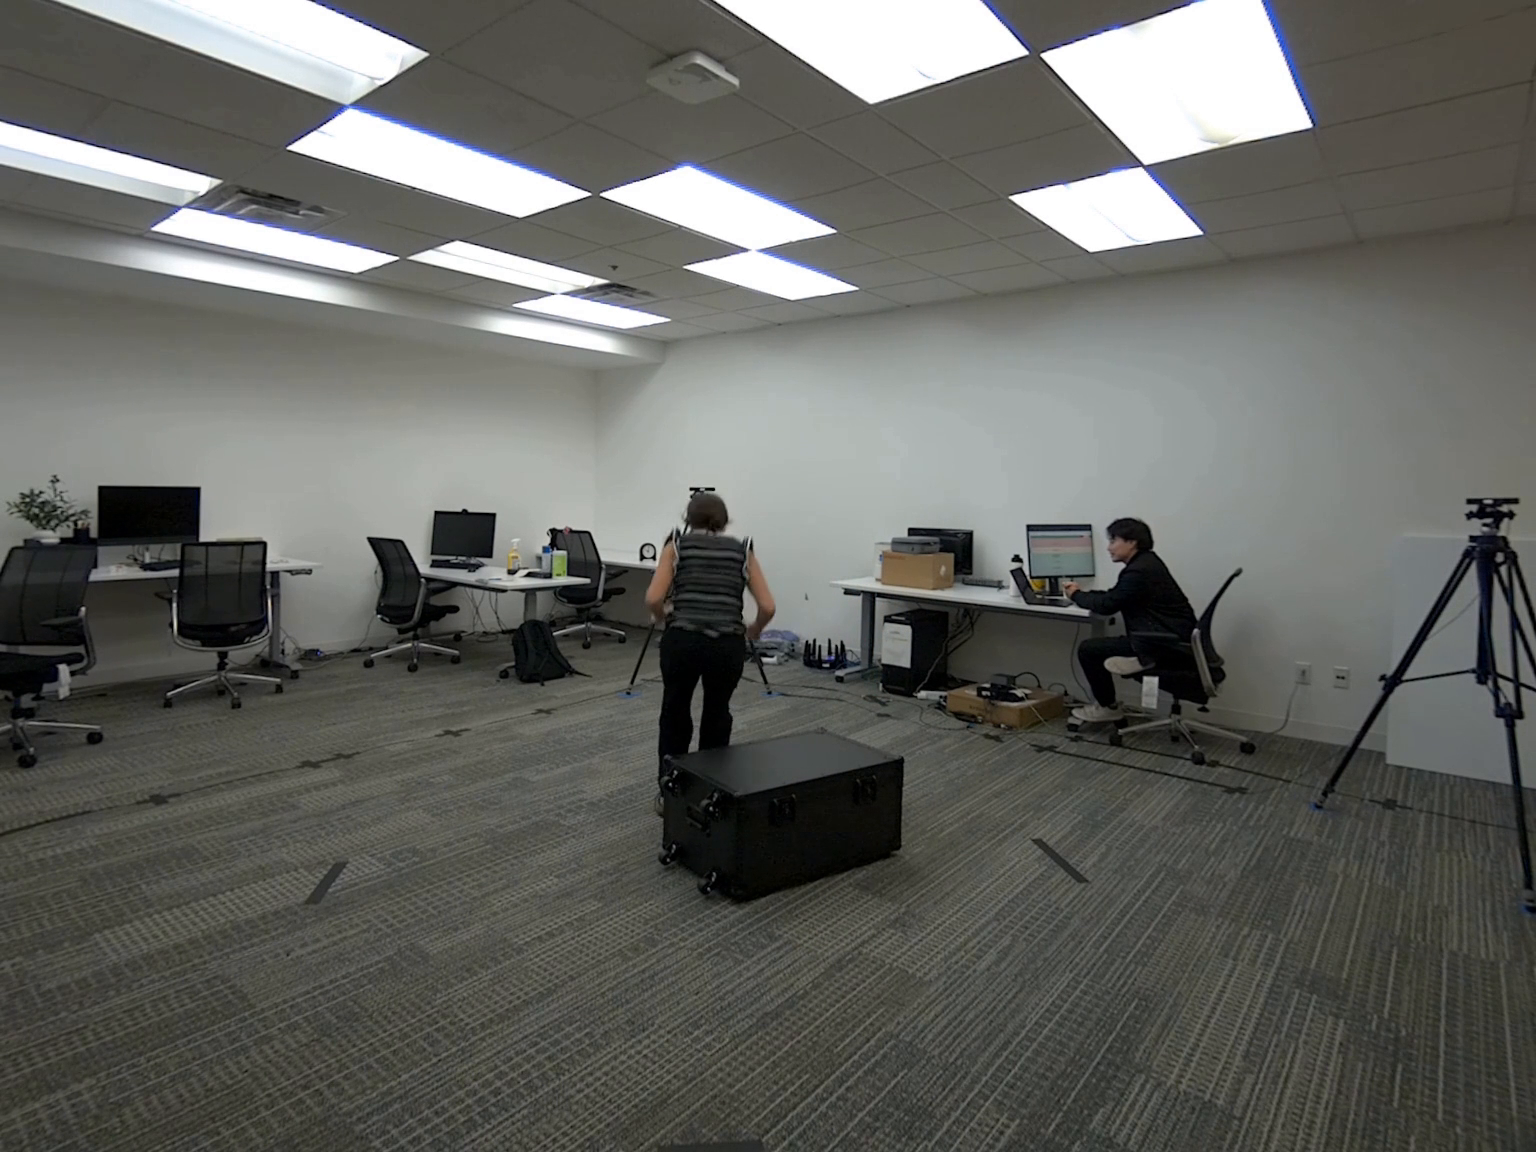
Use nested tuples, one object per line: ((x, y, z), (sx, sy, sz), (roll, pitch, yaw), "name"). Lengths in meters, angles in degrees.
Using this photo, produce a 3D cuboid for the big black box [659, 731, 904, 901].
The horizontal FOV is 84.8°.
((0.026, 0.870, 3.212), (0.836, 0.395, 0.538), (-2, 5, -36), "big black box")
